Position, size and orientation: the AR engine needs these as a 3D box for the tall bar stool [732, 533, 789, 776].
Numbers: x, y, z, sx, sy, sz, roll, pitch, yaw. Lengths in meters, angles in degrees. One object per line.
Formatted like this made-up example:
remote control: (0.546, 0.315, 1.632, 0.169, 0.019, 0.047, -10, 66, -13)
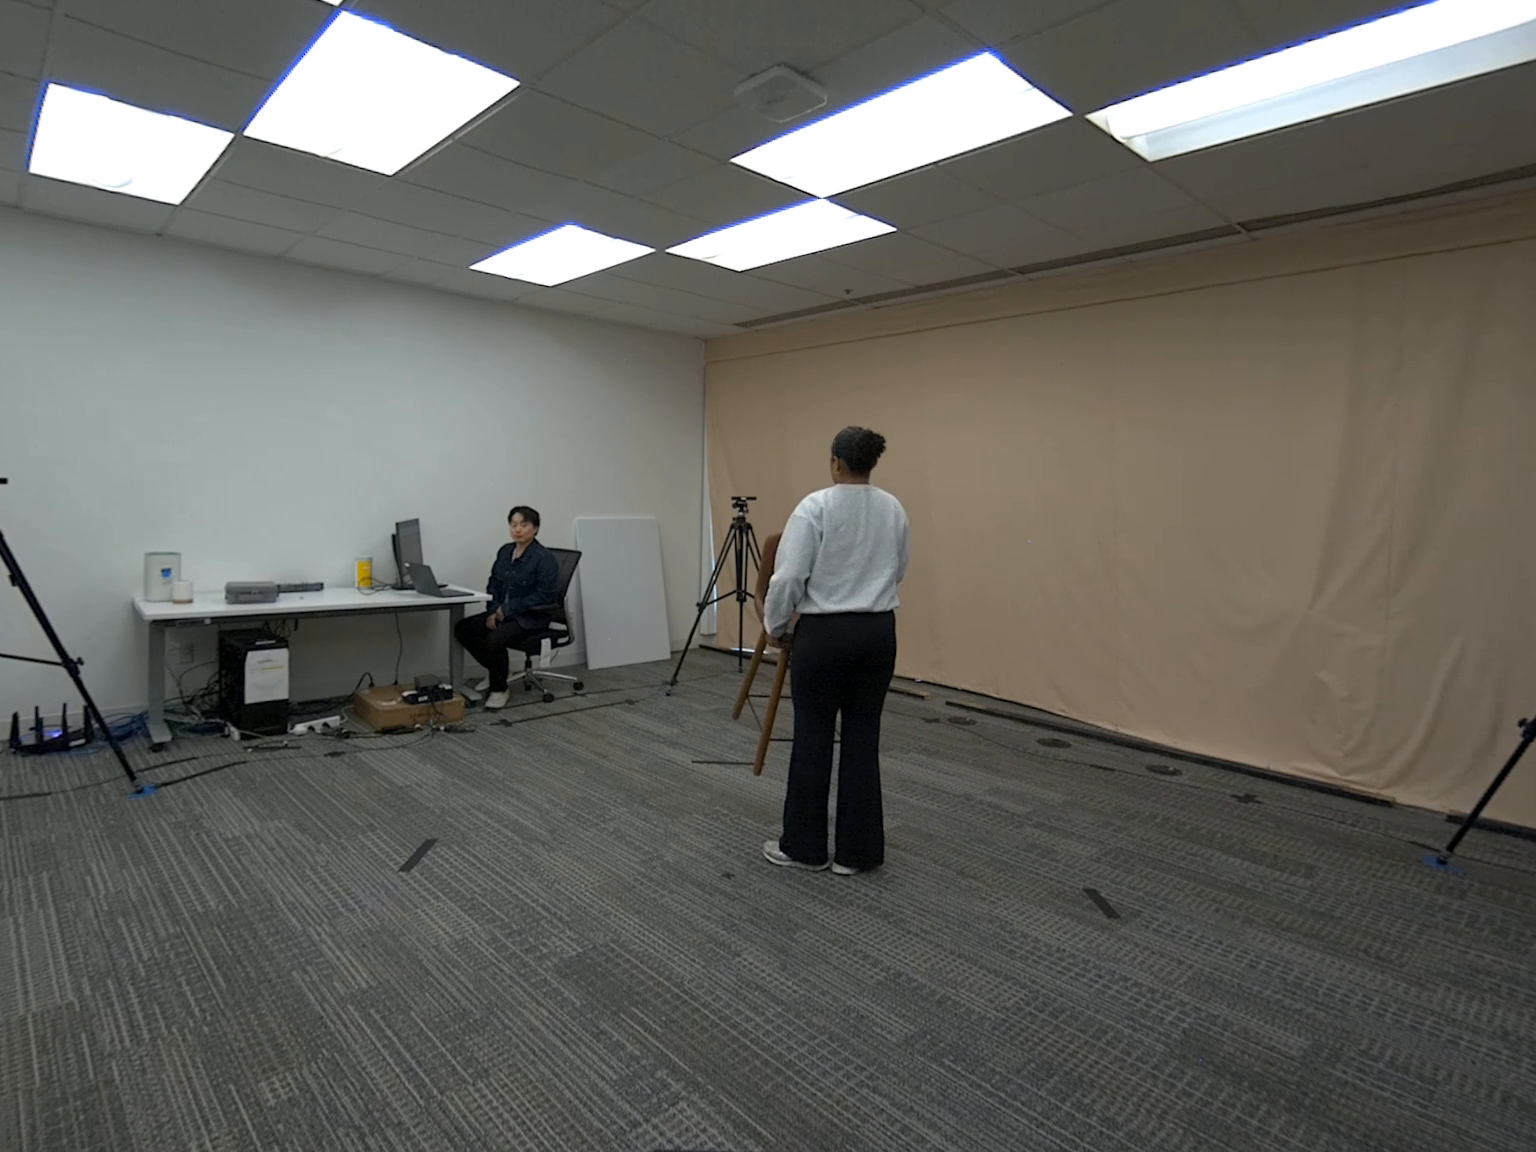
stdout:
tall bar stool: (0.151, 0.325, 3.454, 0.450, 0.882, 0.478, 7, 16, -18)
